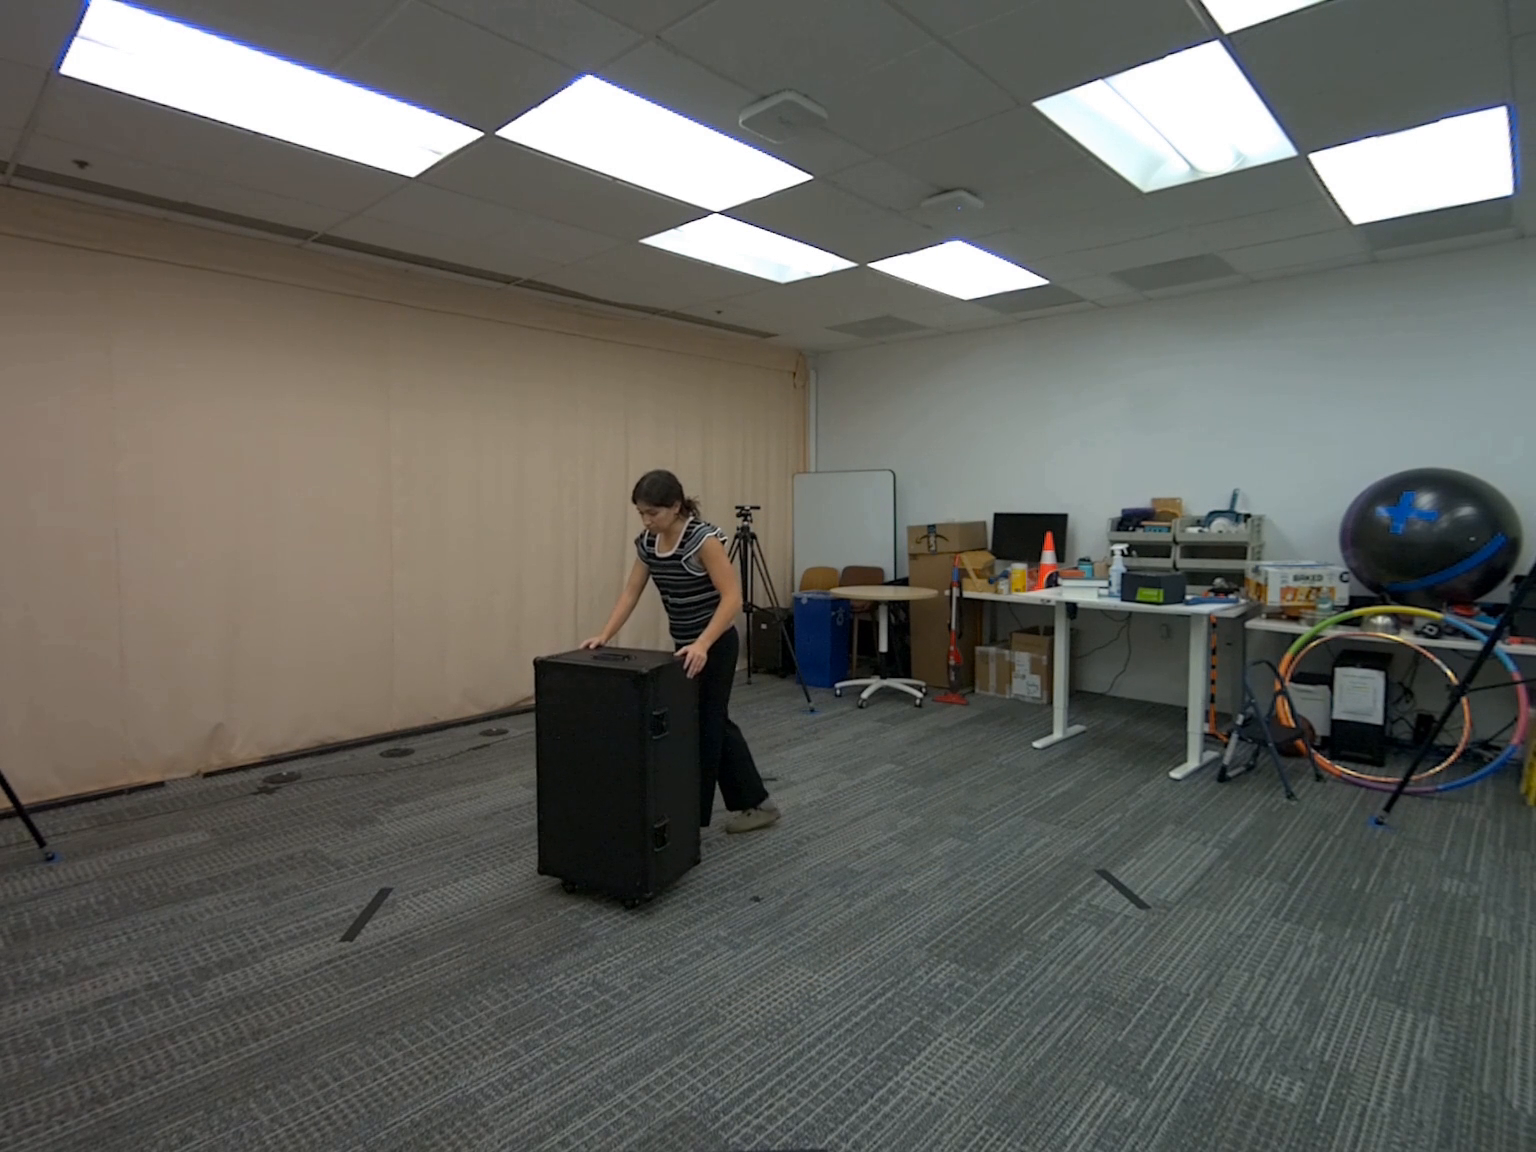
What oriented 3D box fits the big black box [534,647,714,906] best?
[{"bbox_3d":[-0.545,0.717,3.073,0.535,0.860,0.386,1,3,27],"label":"big black box"}]
